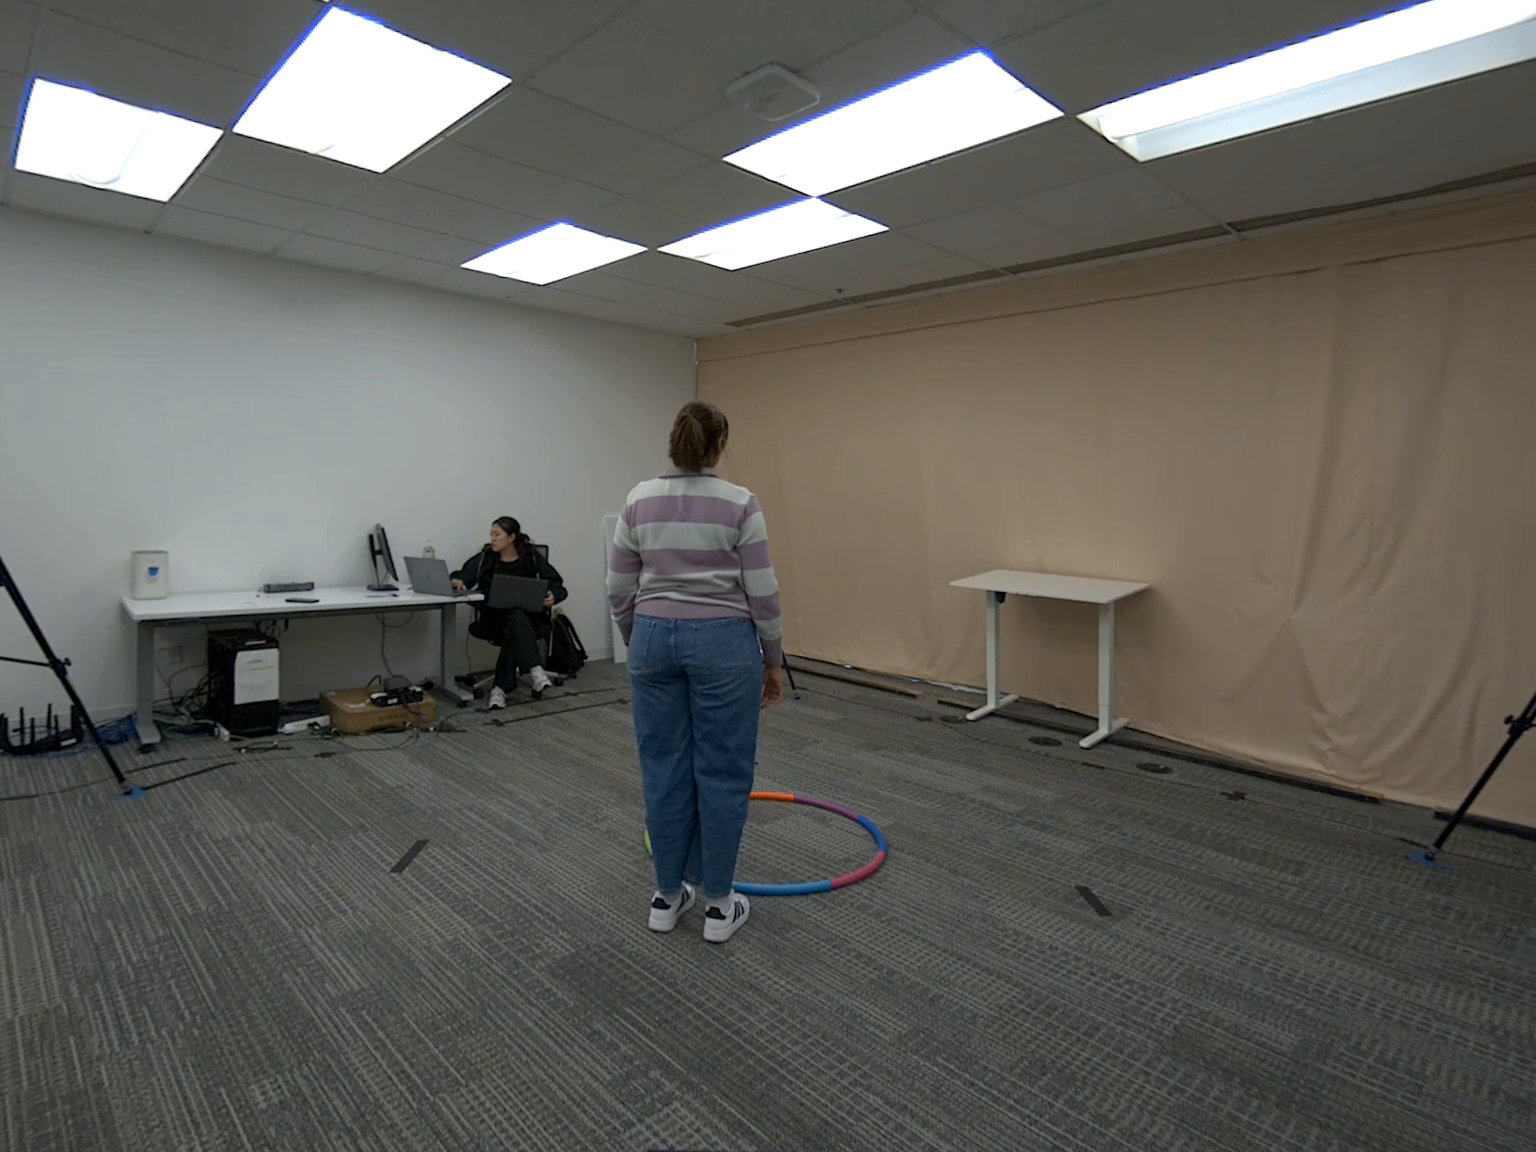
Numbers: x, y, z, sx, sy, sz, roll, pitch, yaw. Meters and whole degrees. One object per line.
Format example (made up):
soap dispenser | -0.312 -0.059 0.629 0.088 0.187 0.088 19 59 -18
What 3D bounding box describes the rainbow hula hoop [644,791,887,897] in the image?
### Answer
rainbow hula hoop | -0.027 1.044 3.430 0.978 0.035 0.982 2 5 -1
